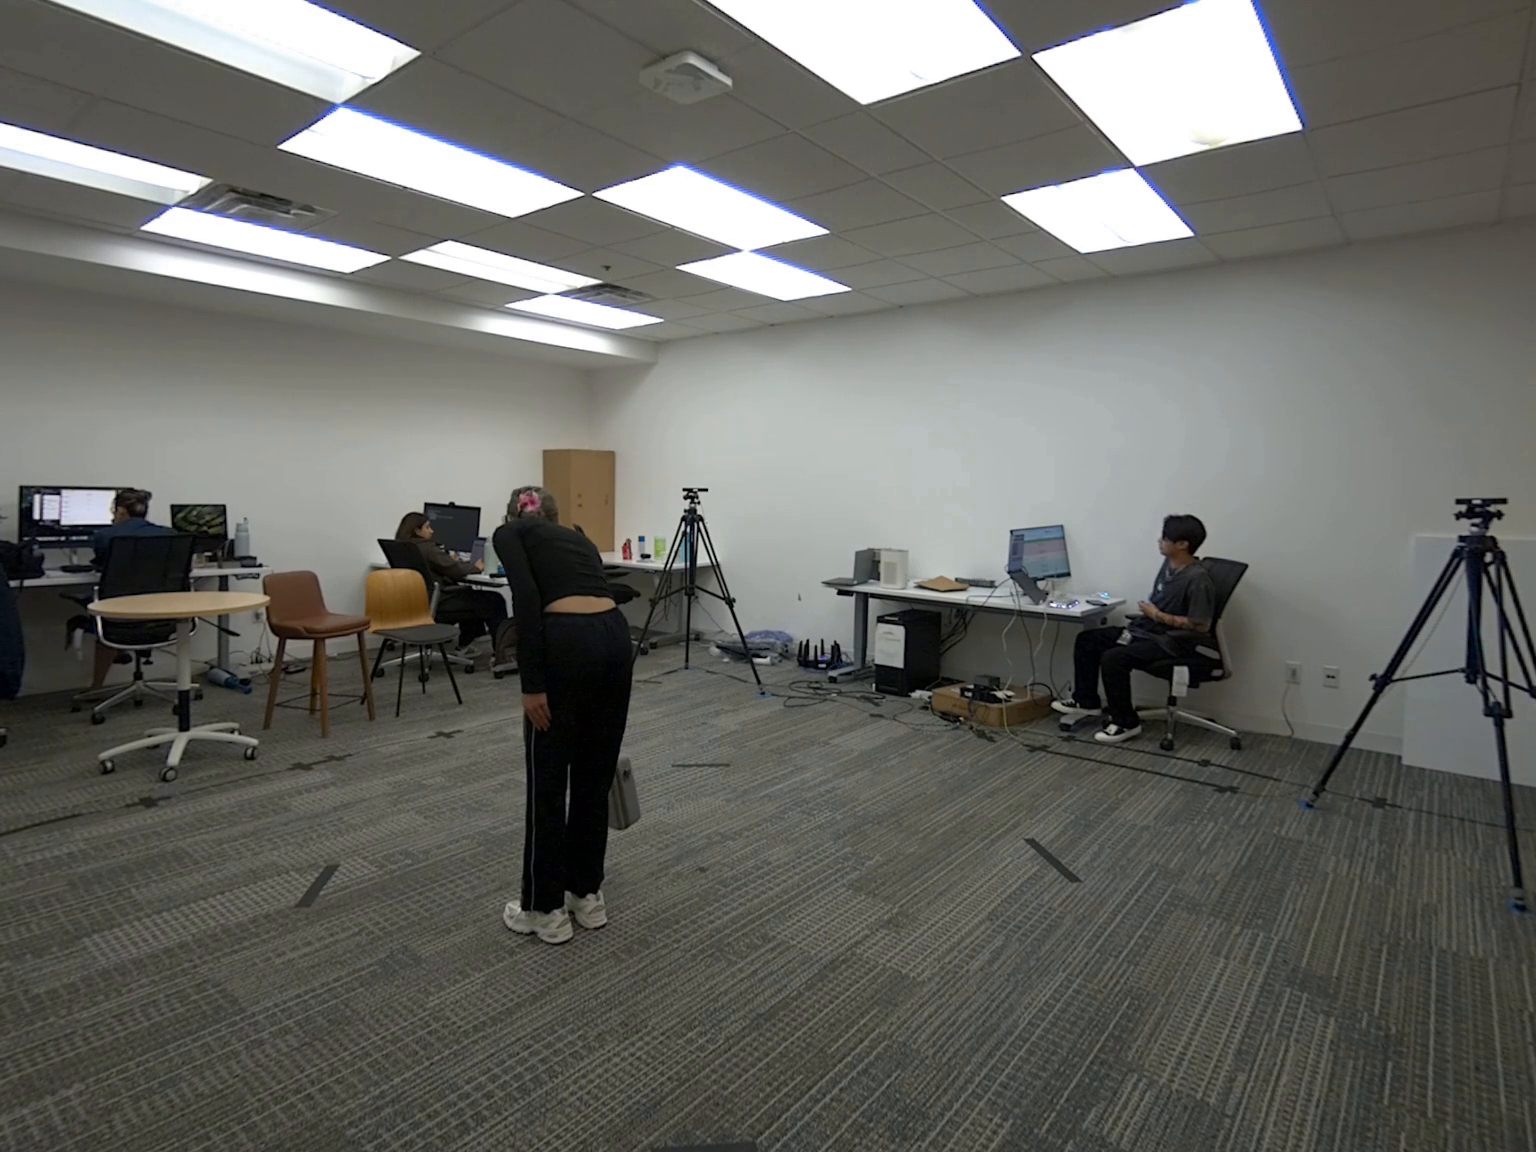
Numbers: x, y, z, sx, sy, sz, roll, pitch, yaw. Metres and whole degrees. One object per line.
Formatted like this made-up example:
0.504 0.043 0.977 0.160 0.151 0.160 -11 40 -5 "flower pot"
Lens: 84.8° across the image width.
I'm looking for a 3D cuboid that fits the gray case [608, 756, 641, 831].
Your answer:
-0.585 0.730 2.983 0.265 0.259 0.102 1 9 44 "gray case"
